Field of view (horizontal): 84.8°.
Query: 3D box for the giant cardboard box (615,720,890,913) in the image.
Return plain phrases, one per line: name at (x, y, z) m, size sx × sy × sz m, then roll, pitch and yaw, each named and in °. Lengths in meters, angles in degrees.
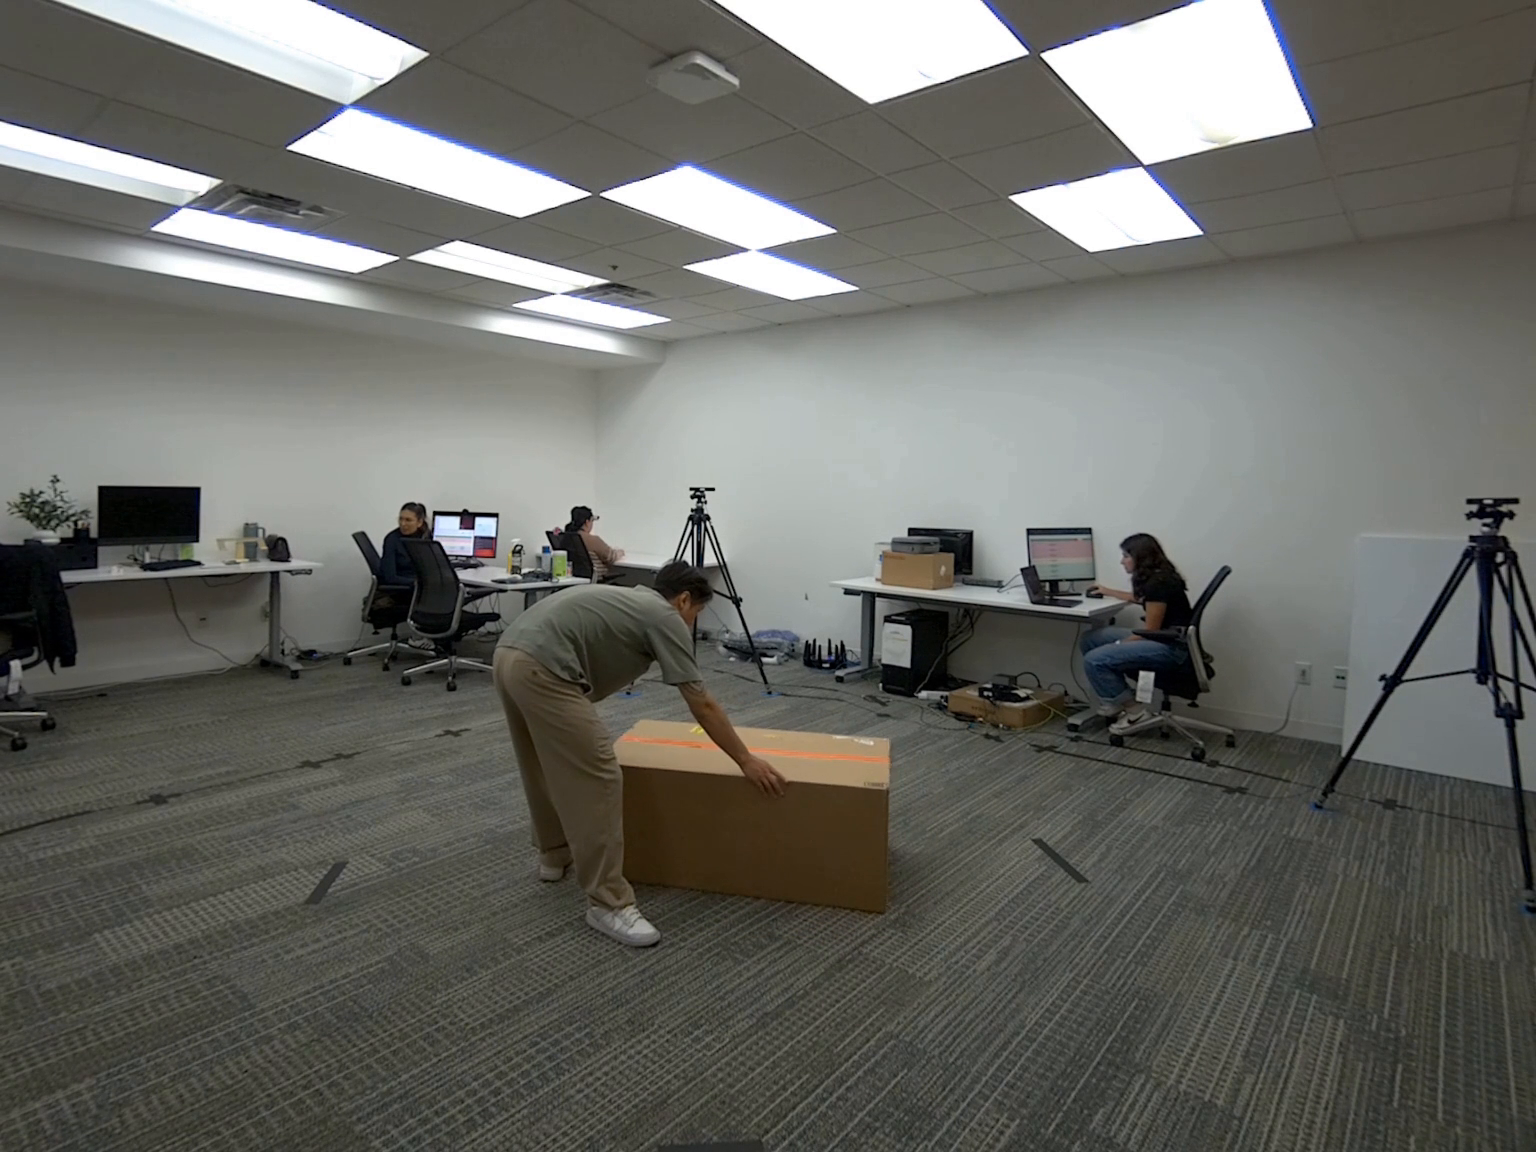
giant cardboard box at (-0.079, 0.845, 3.173) m, size 1.040 × 0.424 × 0.573 m, roll 2°, pitch 6°, yaw 12°
